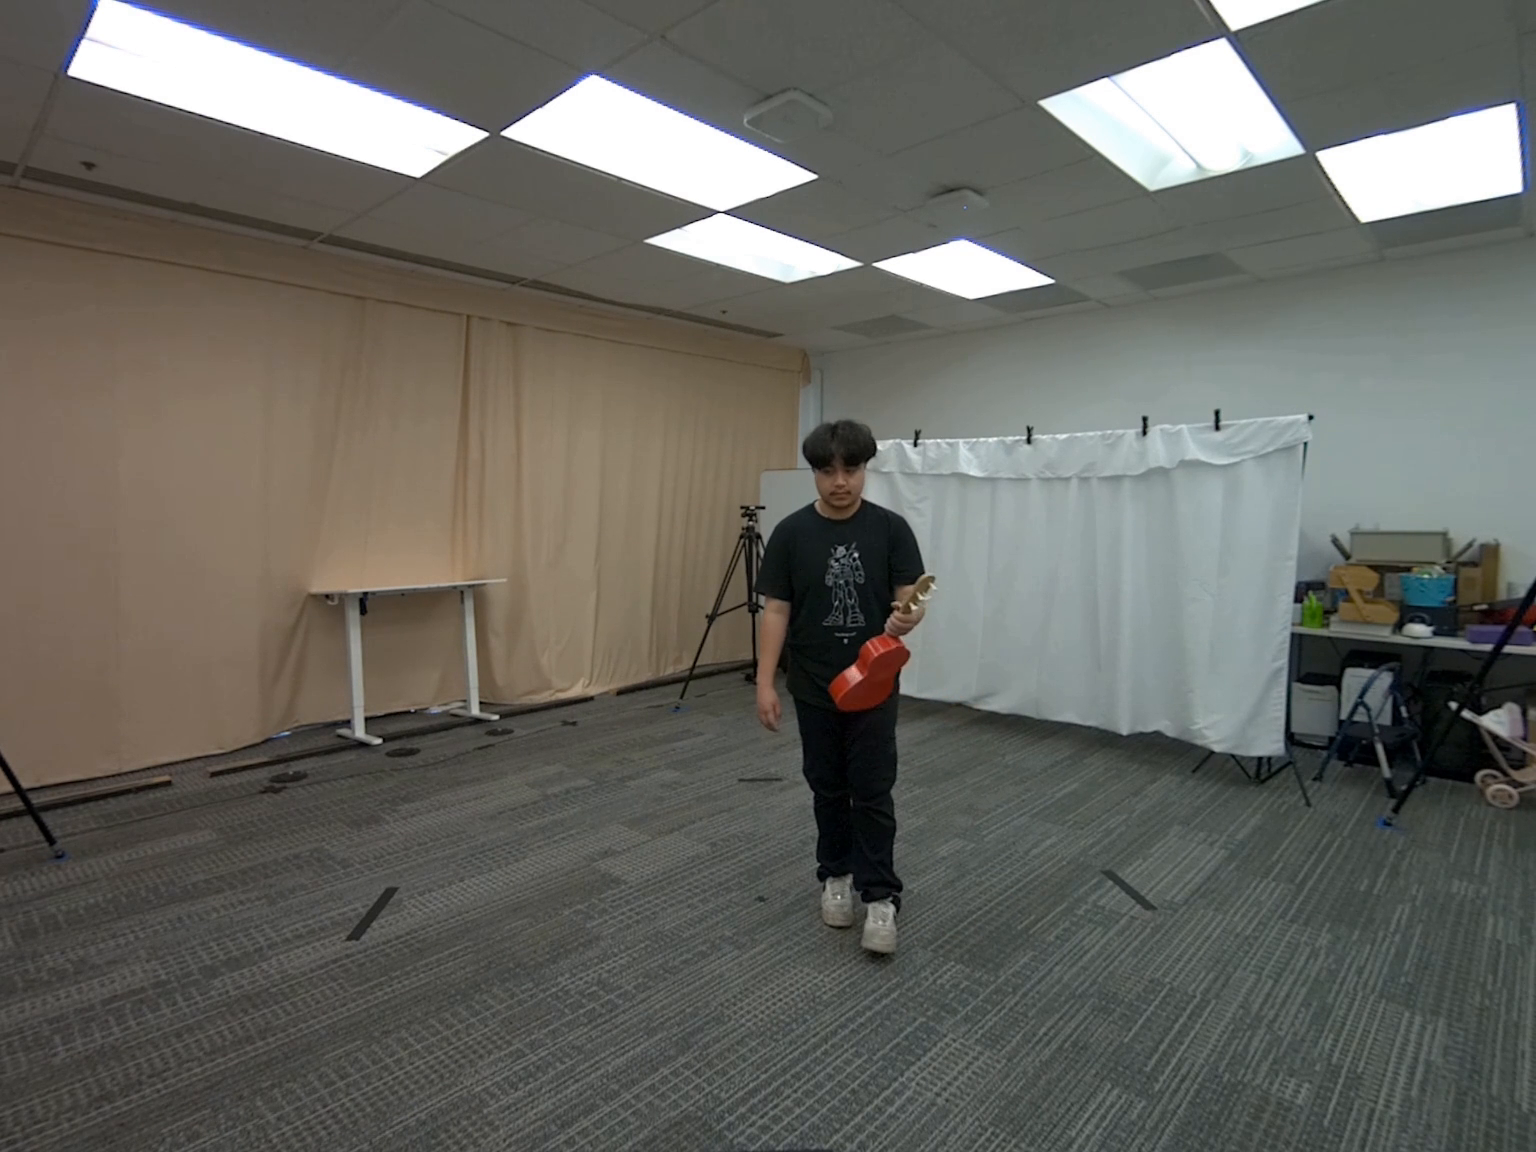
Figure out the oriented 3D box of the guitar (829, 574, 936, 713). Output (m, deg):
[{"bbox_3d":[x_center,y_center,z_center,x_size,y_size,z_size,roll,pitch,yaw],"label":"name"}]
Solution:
[{"bbox_3d":[0.324,0.202,2.432,0.188,0.494,0.073,-5,43,-28],"label":"guitar"}]
